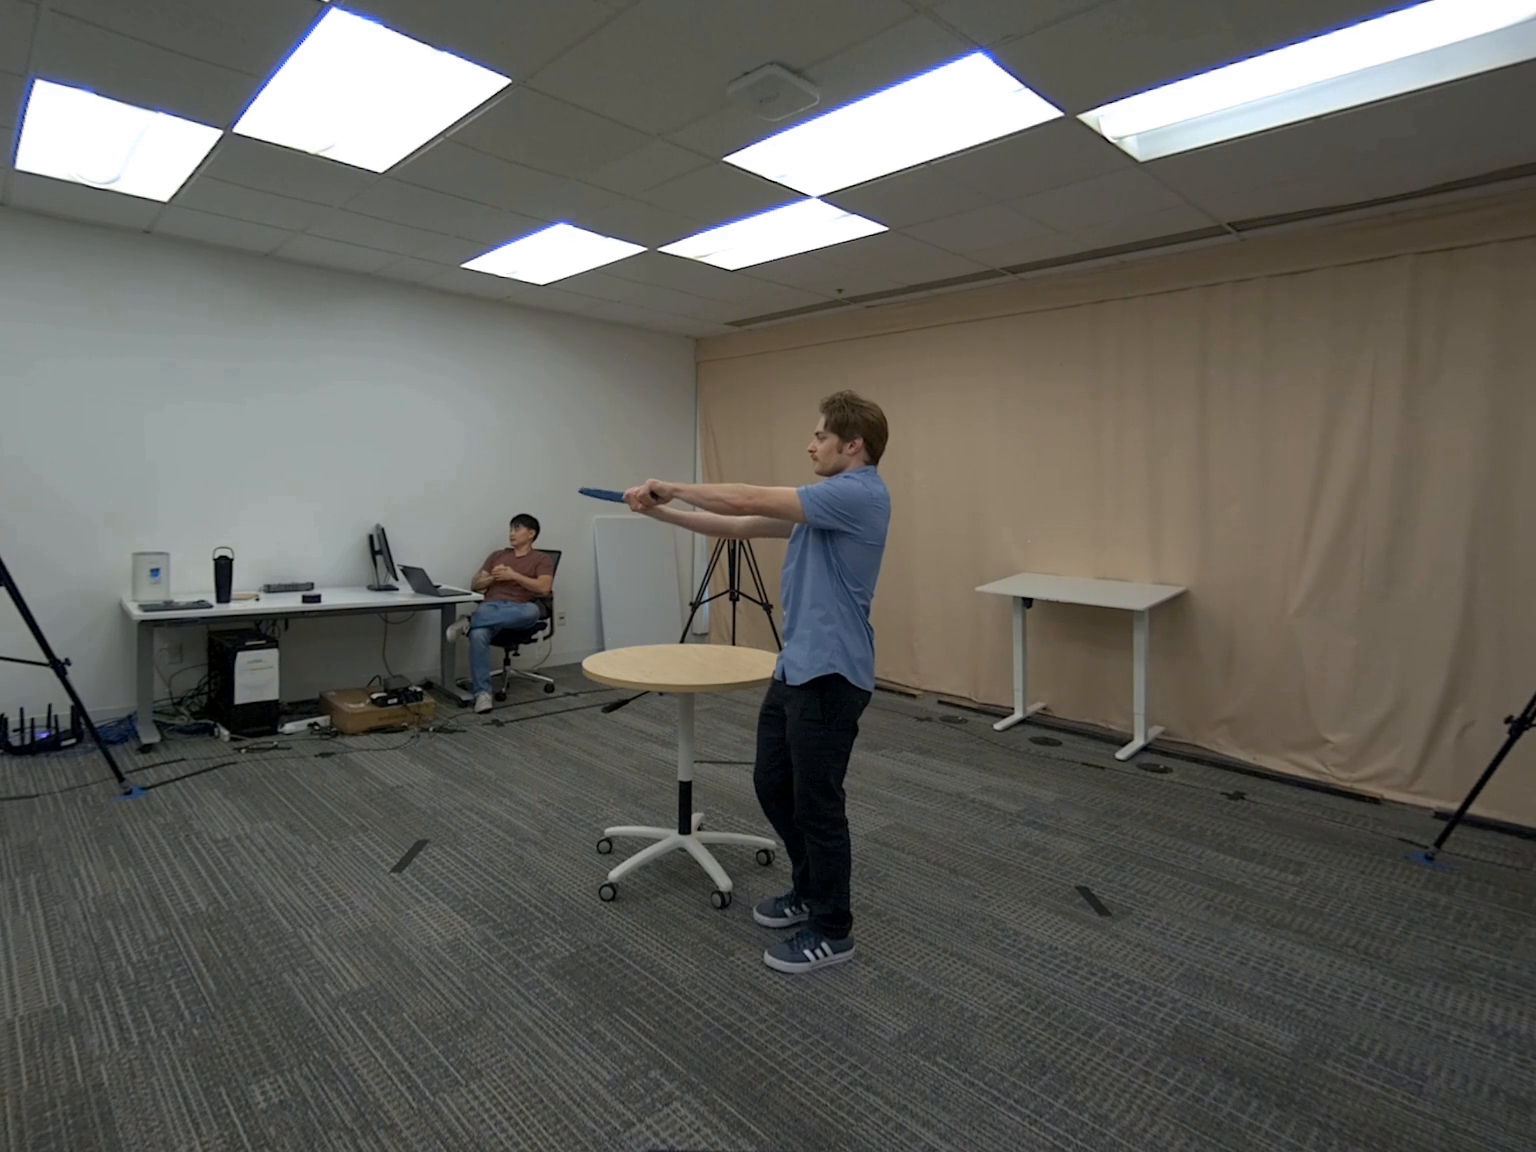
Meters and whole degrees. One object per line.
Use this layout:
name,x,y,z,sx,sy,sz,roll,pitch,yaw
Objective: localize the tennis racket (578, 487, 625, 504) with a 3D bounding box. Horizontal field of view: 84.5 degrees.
tennis racket,-0.486,-0.256,2.698,0.209,0.032,0.443,11,-1,-31
